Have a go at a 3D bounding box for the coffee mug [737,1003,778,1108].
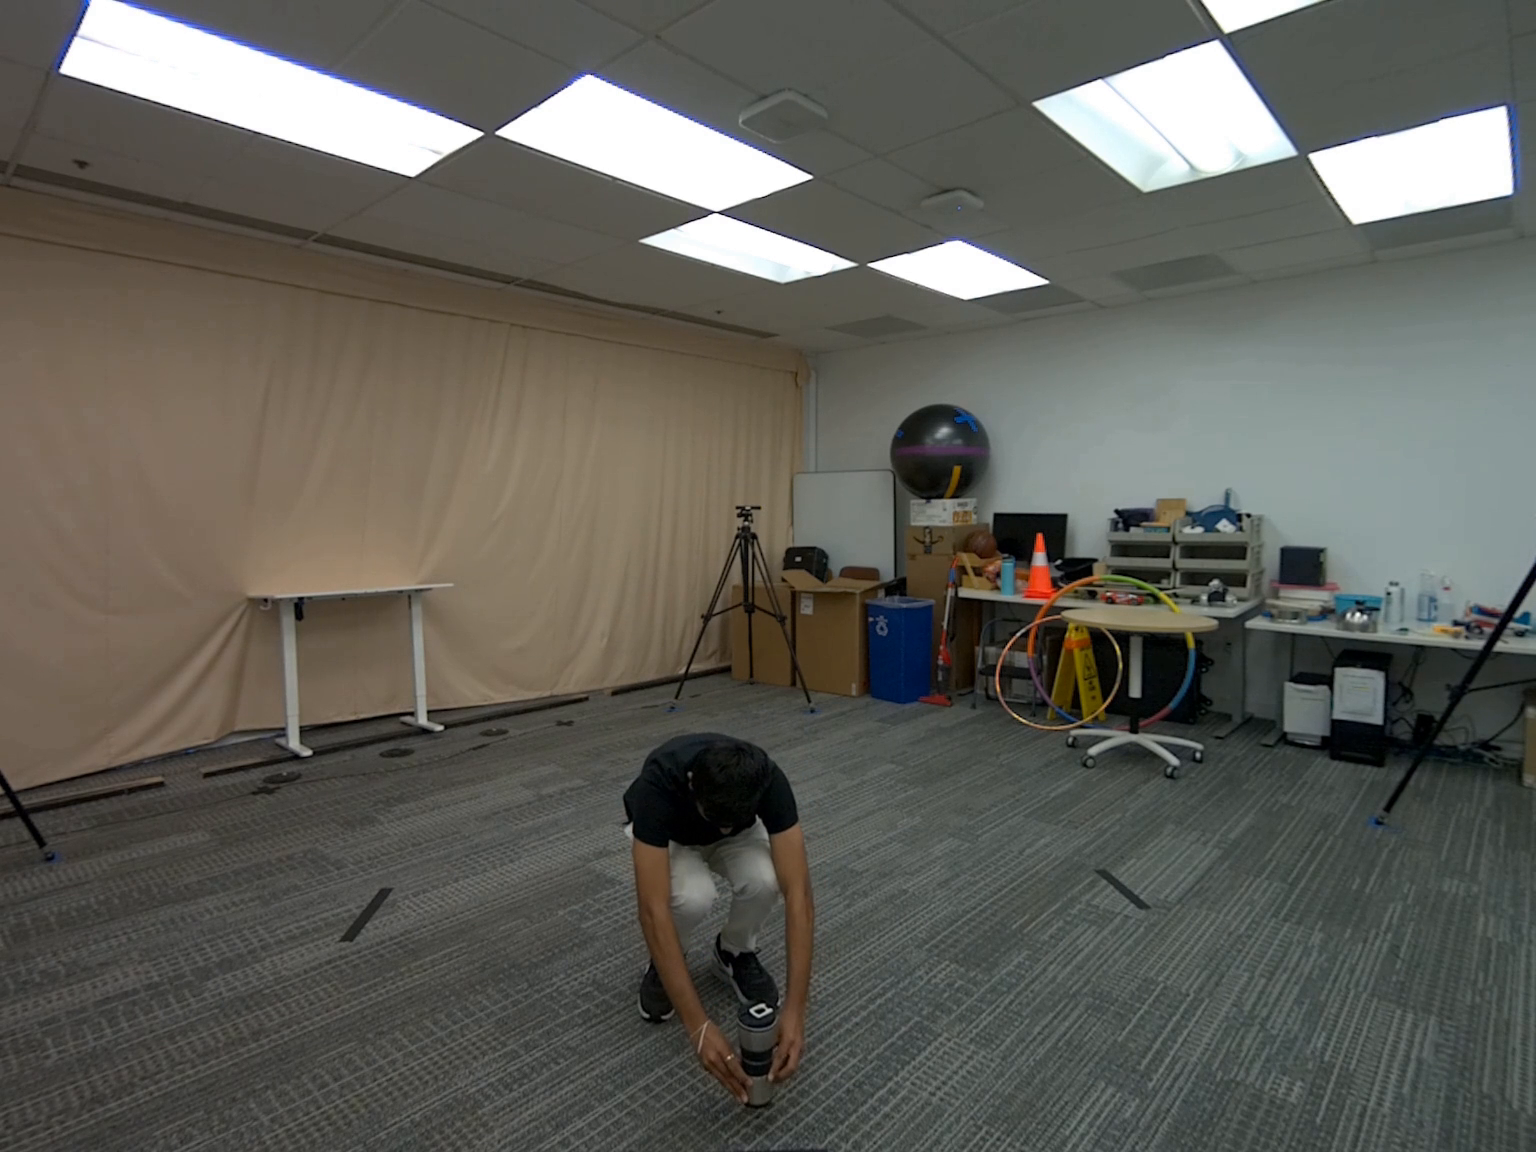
[{"bbox_3d":[-0.013,1.060,1.886,0.090,0.202,0.119,-2,3,33],"label":"coffee mug"}]
